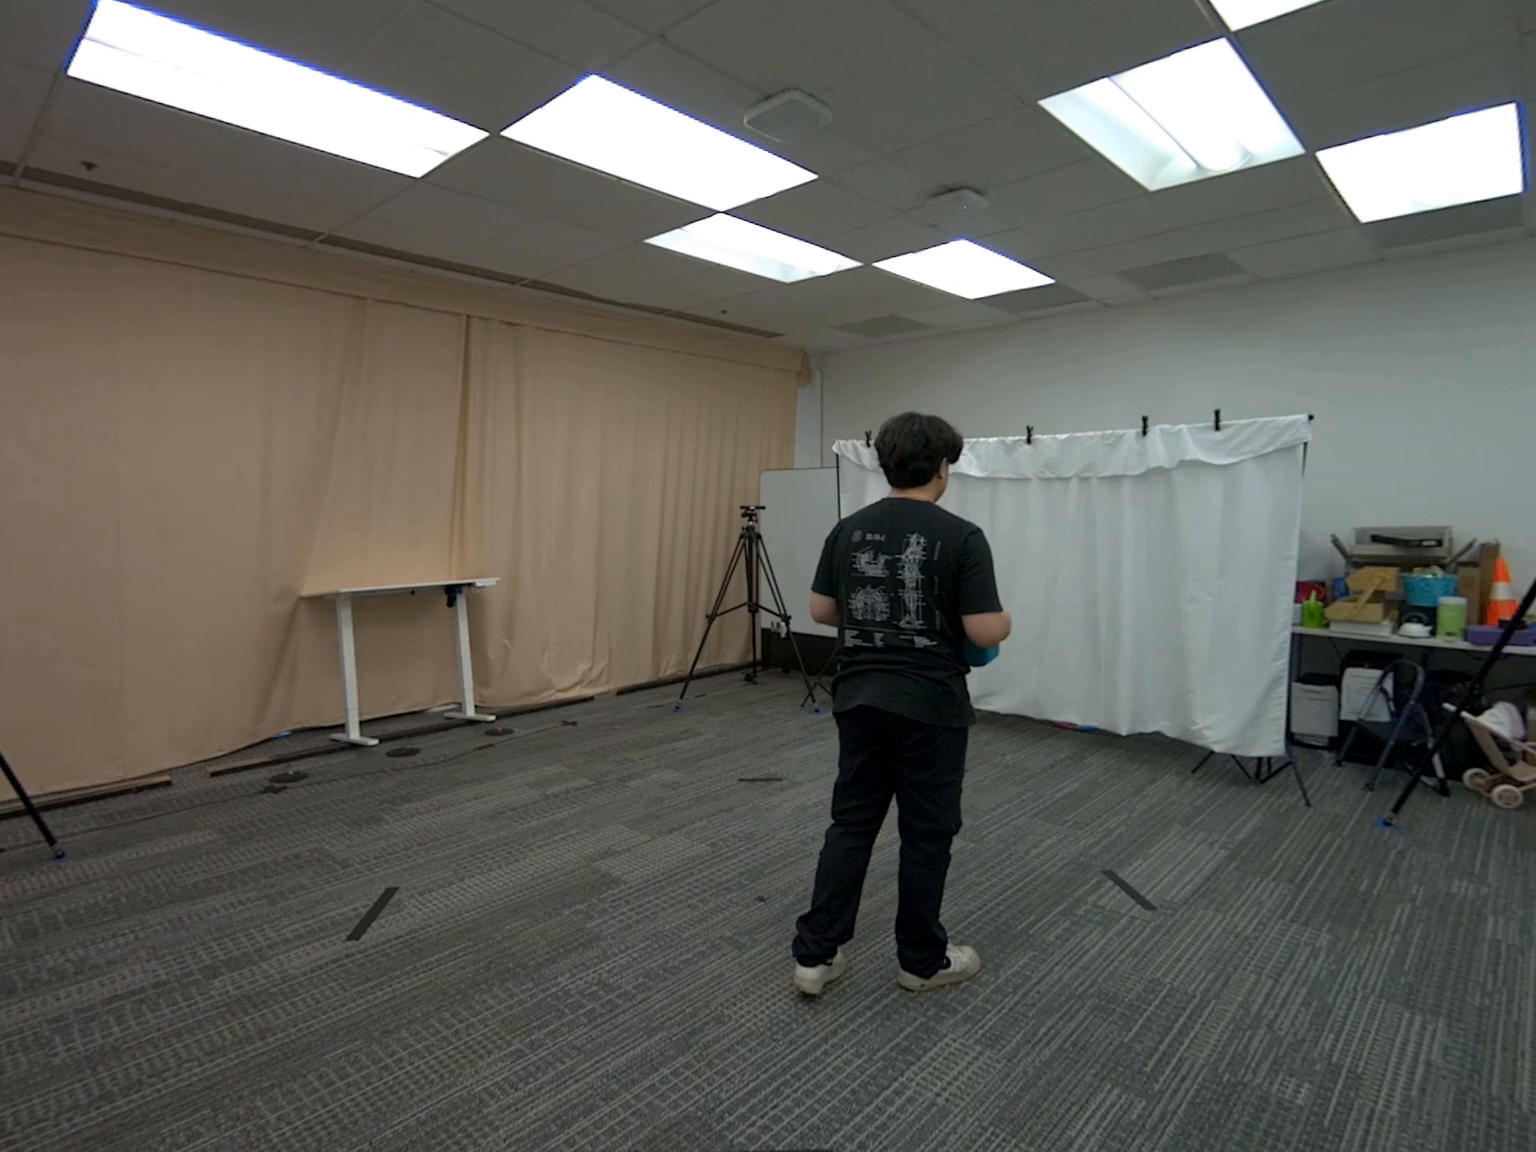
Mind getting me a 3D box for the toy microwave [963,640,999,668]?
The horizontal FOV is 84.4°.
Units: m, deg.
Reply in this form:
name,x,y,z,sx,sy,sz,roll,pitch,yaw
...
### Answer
name,x,y,z,sx,sy,sz,roll,pitch,yaw
toy microwave,0.589,0.171,2.643,0.295,0.183,0.148,5,10,35
